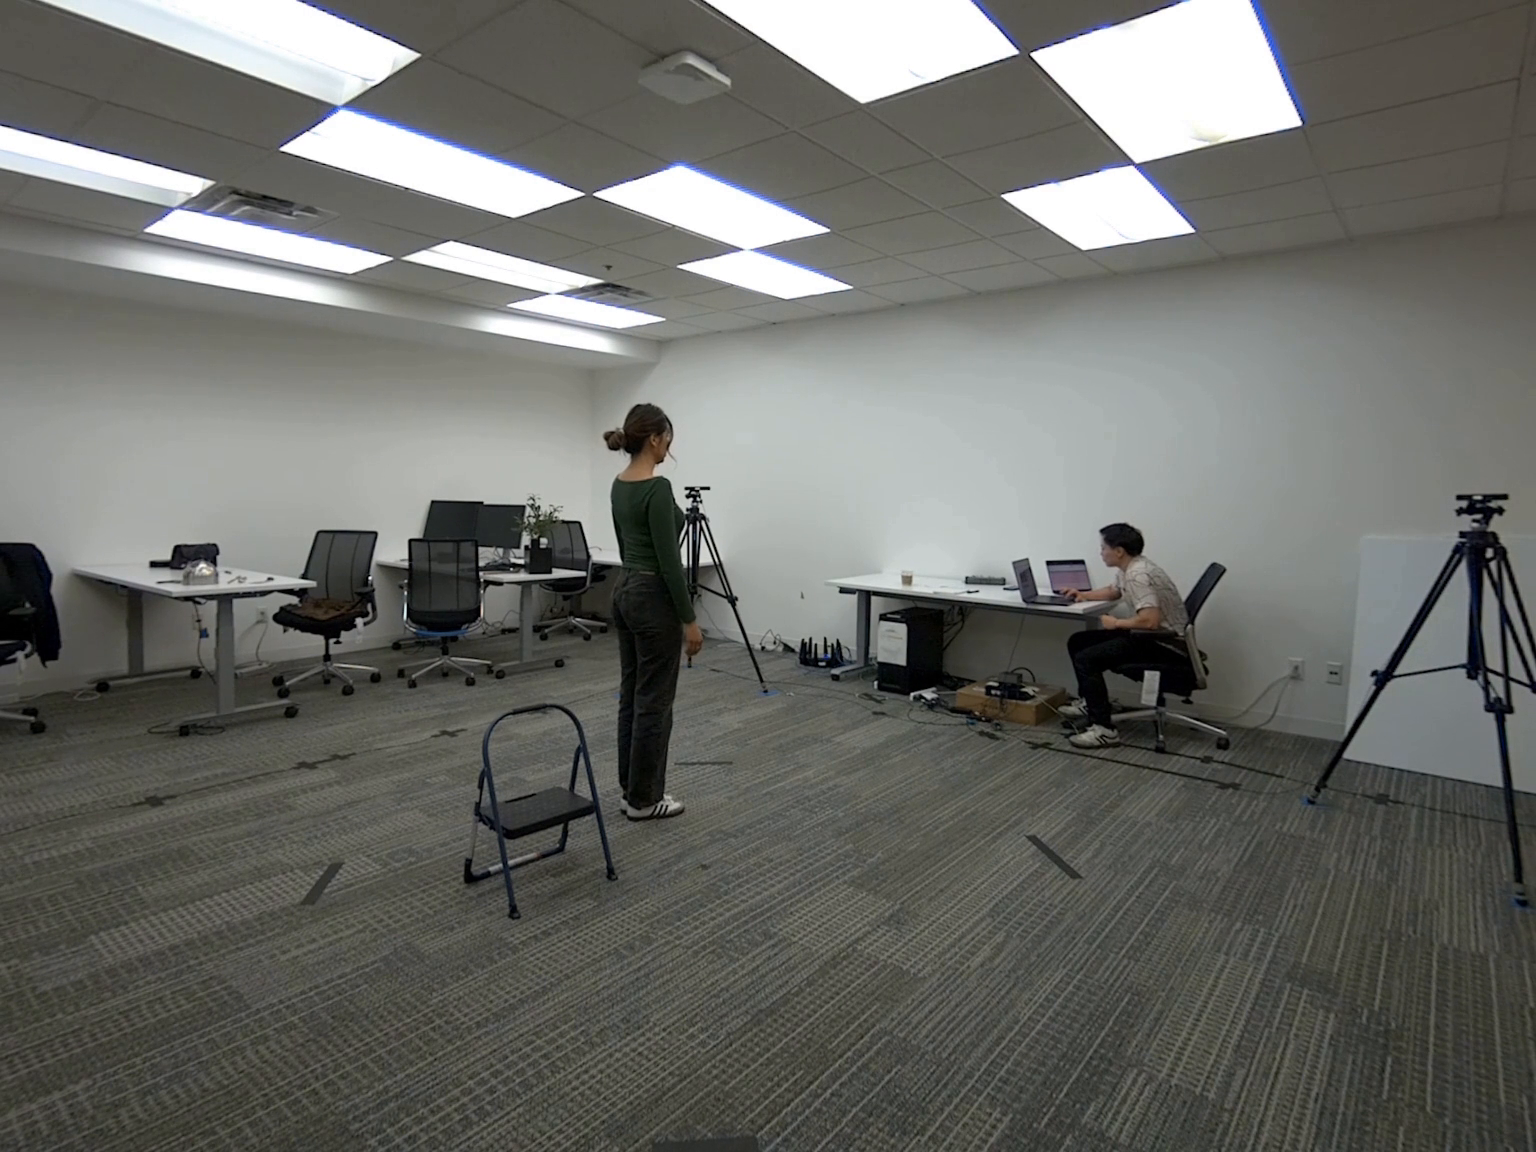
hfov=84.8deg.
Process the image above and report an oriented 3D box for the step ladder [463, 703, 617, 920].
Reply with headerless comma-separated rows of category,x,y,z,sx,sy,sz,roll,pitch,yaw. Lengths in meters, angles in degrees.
step ladder,-0.808,0.767,2.976,0.361,0.604,0.417,4,4,43
